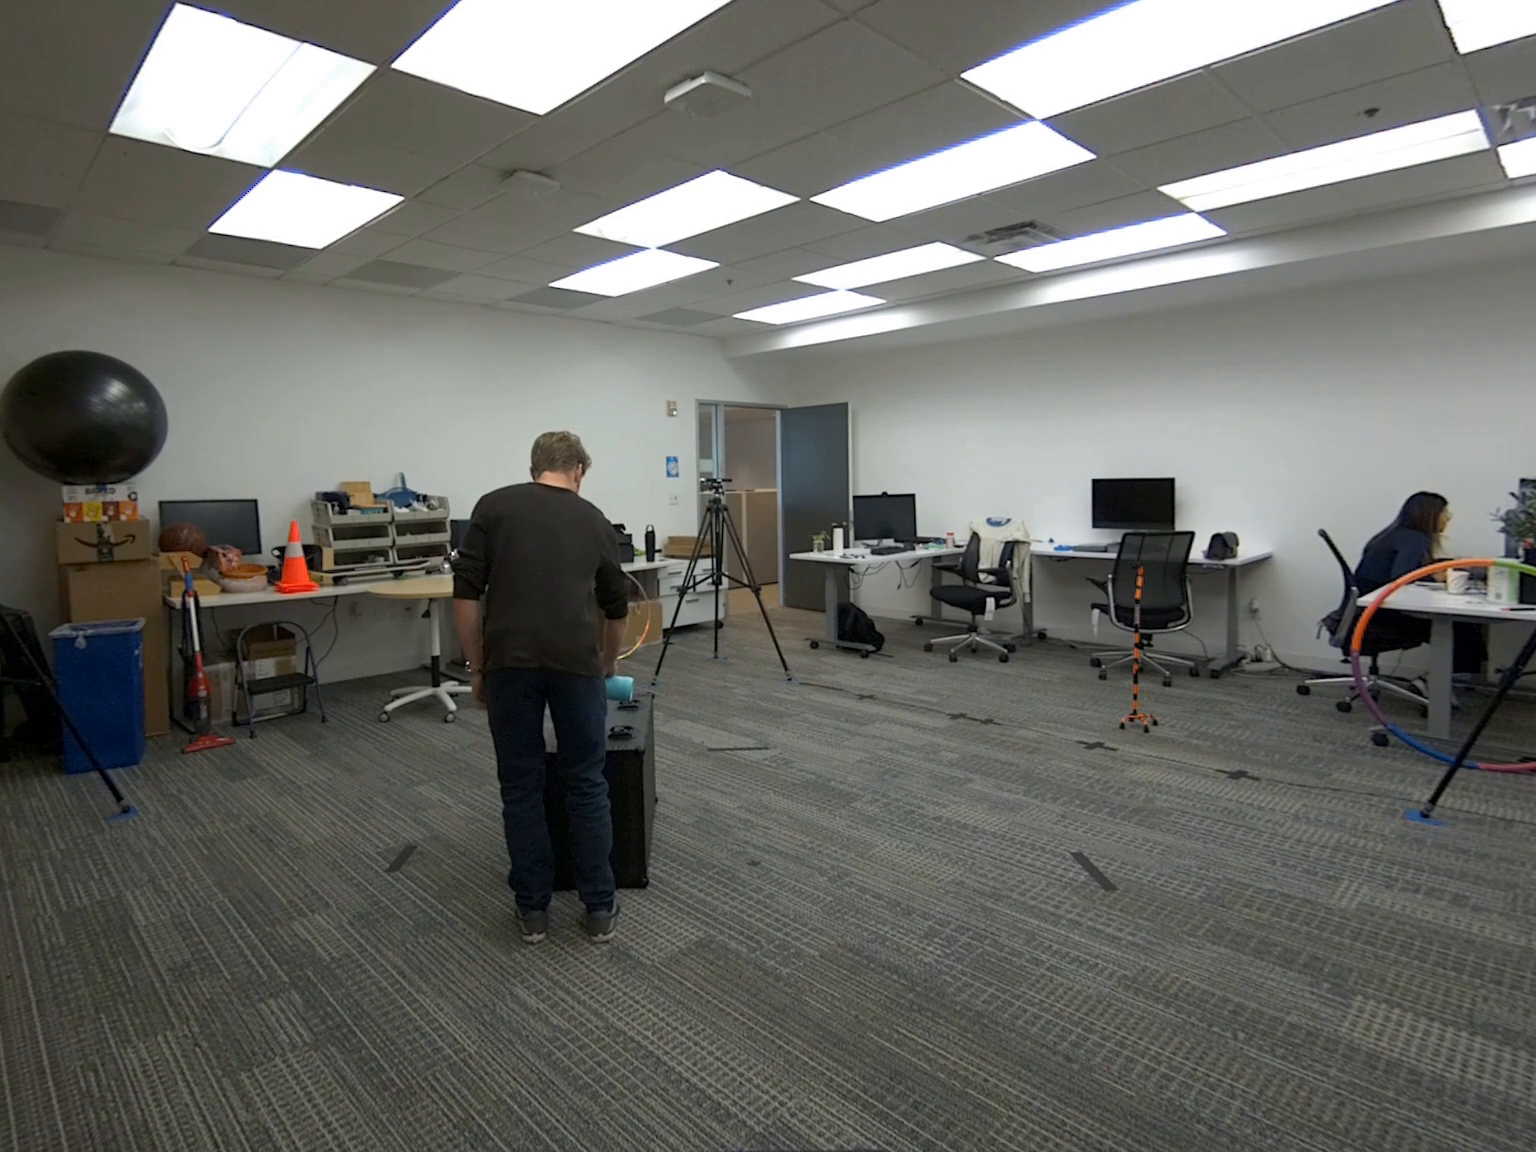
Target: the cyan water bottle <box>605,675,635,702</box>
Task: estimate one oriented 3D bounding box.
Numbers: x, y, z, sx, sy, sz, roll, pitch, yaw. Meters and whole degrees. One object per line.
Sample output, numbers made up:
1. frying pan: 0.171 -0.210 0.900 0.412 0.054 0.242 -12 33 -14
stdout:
1. cyan water bottle: -0.643 0.404 3.150 0.284 0.092 0.092 7 5 1
